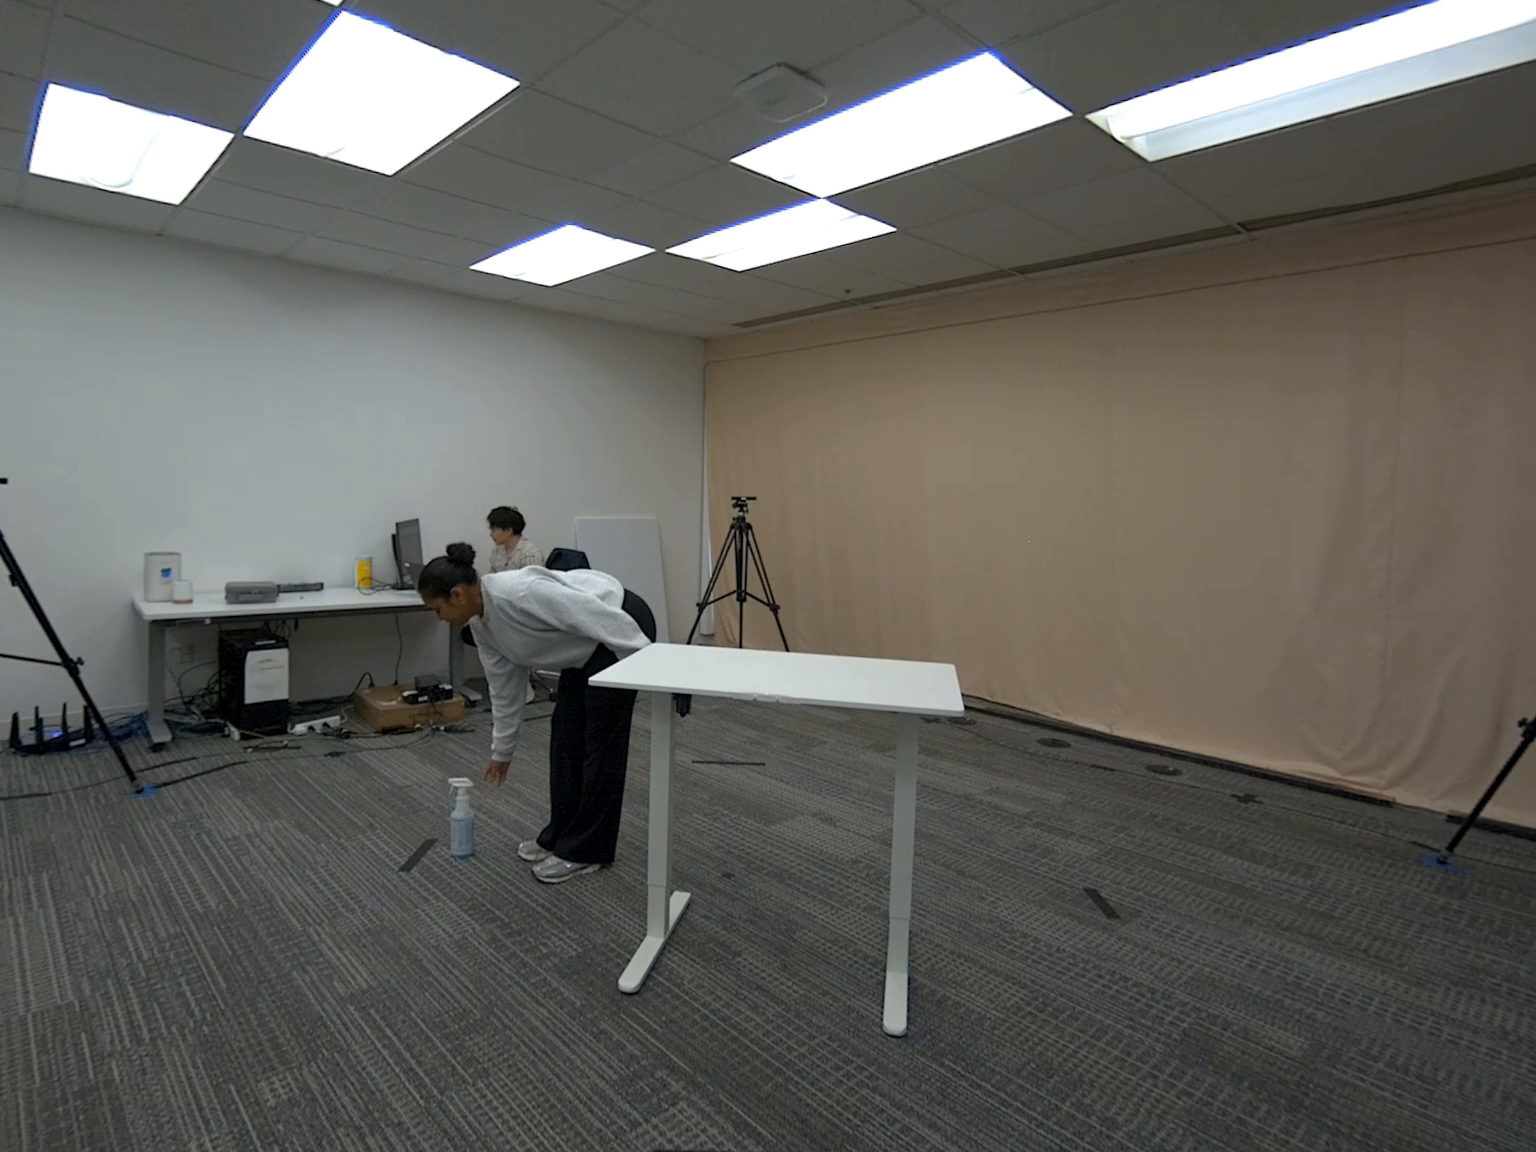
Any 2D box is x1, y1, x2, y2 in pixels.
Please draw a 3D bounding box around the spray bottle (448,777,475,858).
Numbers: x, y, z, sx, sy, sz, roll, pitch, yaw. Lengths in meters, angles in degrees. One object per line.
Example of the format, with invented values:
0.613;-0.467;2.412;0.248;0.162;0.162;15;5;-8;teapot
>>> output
-1.177;0.922;3.231;0.091;0.296;0.086;1;4;12;spray bottle
